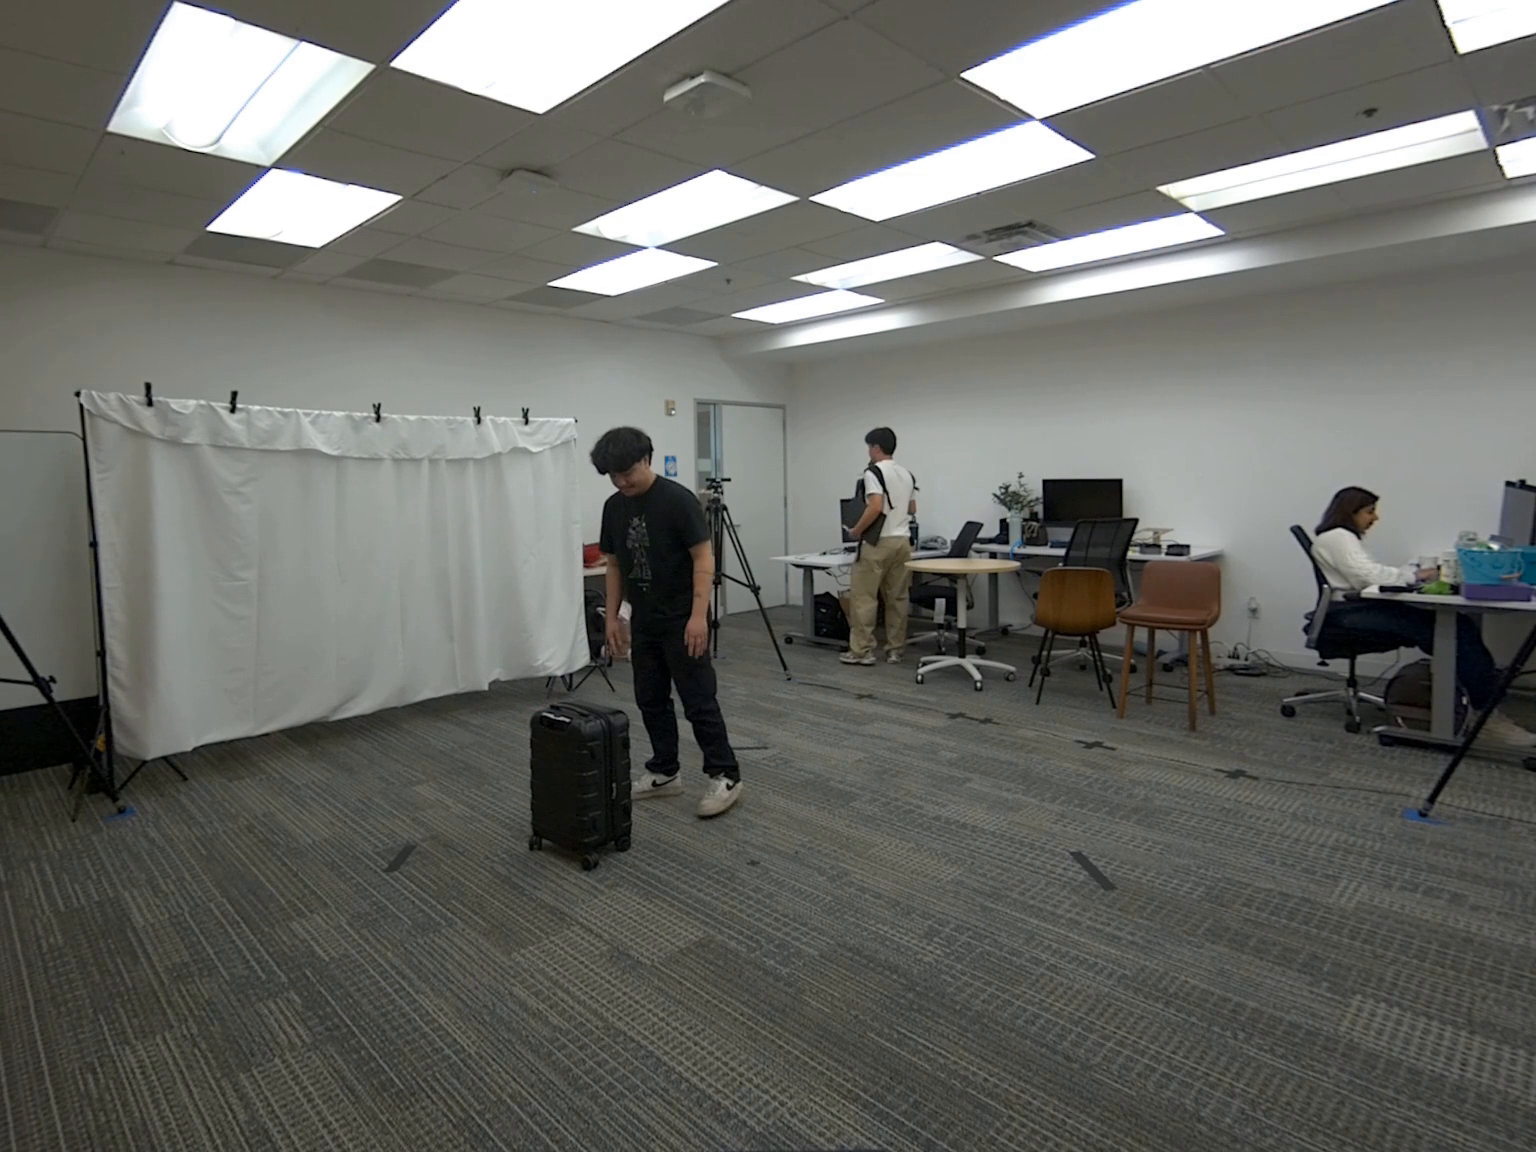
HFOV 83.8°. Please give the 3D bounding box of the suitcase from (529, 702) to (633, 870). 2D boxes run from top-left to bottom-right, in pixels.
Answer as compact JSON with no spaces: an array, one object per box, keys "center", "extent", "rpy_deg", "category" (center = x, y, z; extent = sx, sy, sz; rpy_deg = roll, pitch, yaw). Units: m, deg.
[{"center":[-0.722,0.763,3.252],"extent":[0.386,0.548,0.242],"rpy_deg":[1,4,40],"category":"suitcase"}]
